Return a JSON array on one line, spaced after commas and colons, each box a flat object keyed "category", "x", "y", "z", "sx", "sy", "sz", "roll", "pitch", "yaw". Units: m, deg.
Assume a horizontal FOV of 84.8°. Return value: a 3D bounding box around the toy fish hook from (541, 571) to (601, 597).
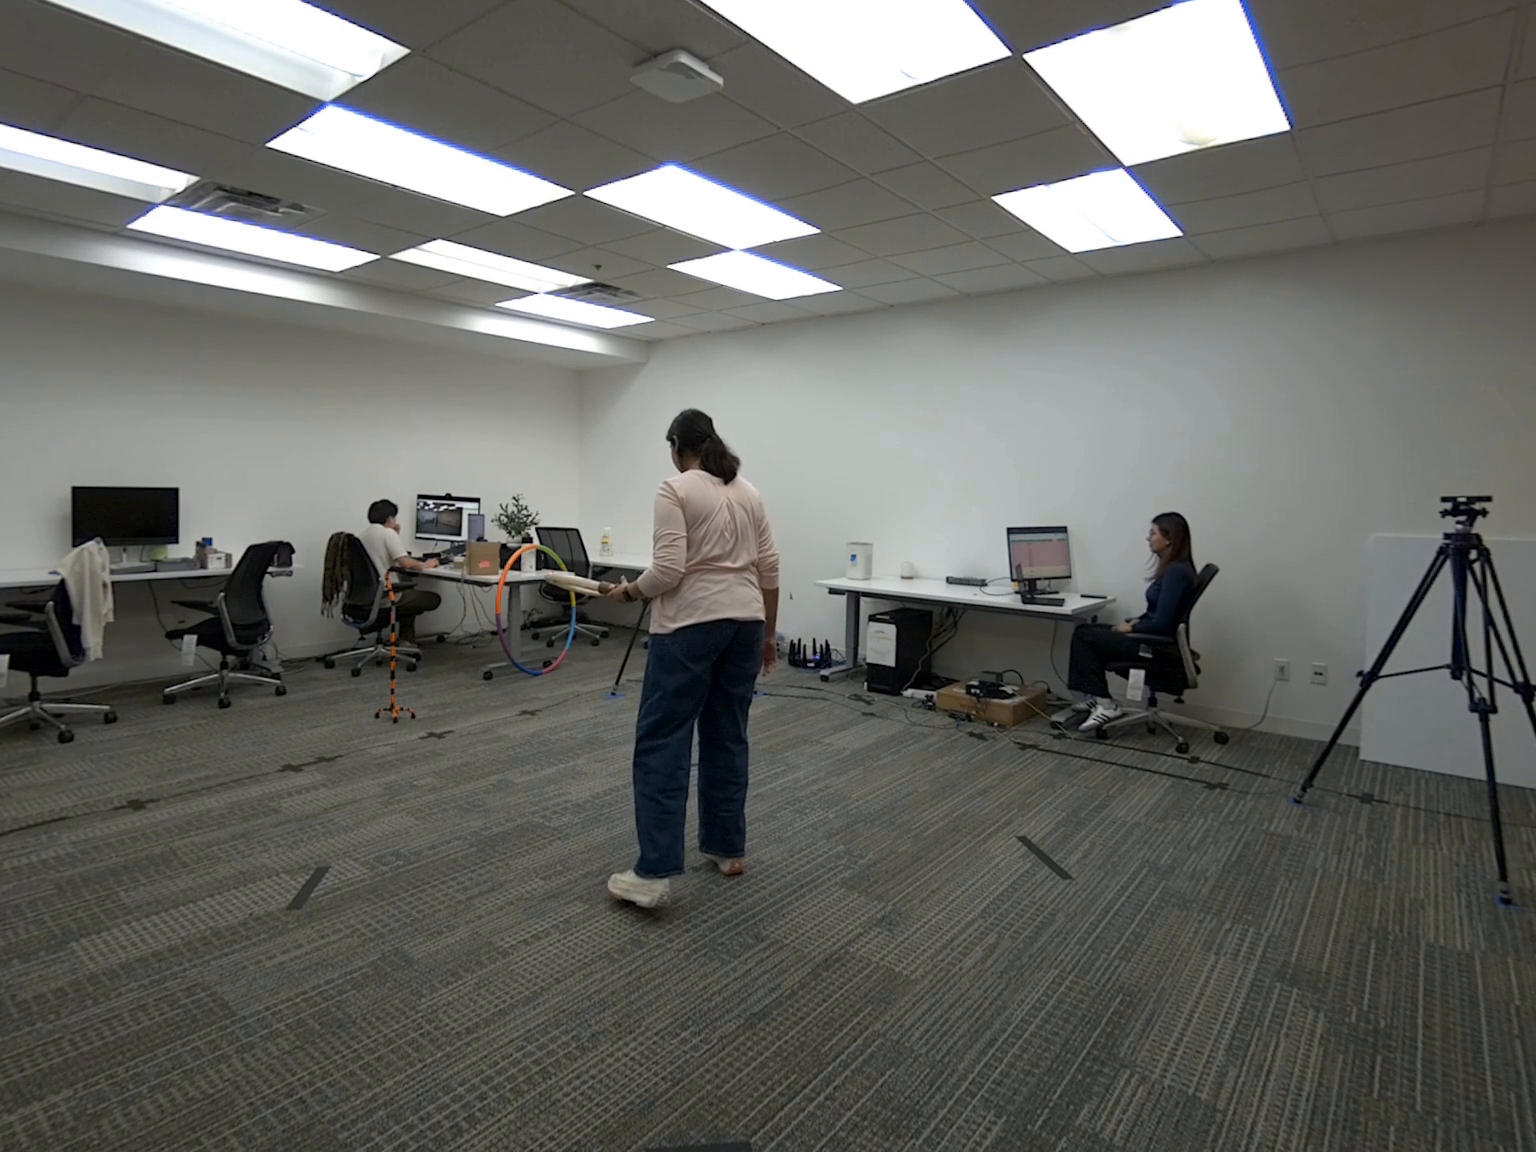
[{"category": "toy fish hook", "x": -0.656, "y": 0.050, "z": 3.256, "sx": 0.524, "sy": 0.048, "sz": 0.216, "roll": 10, "pitch": -6, "yaw": 37}]
